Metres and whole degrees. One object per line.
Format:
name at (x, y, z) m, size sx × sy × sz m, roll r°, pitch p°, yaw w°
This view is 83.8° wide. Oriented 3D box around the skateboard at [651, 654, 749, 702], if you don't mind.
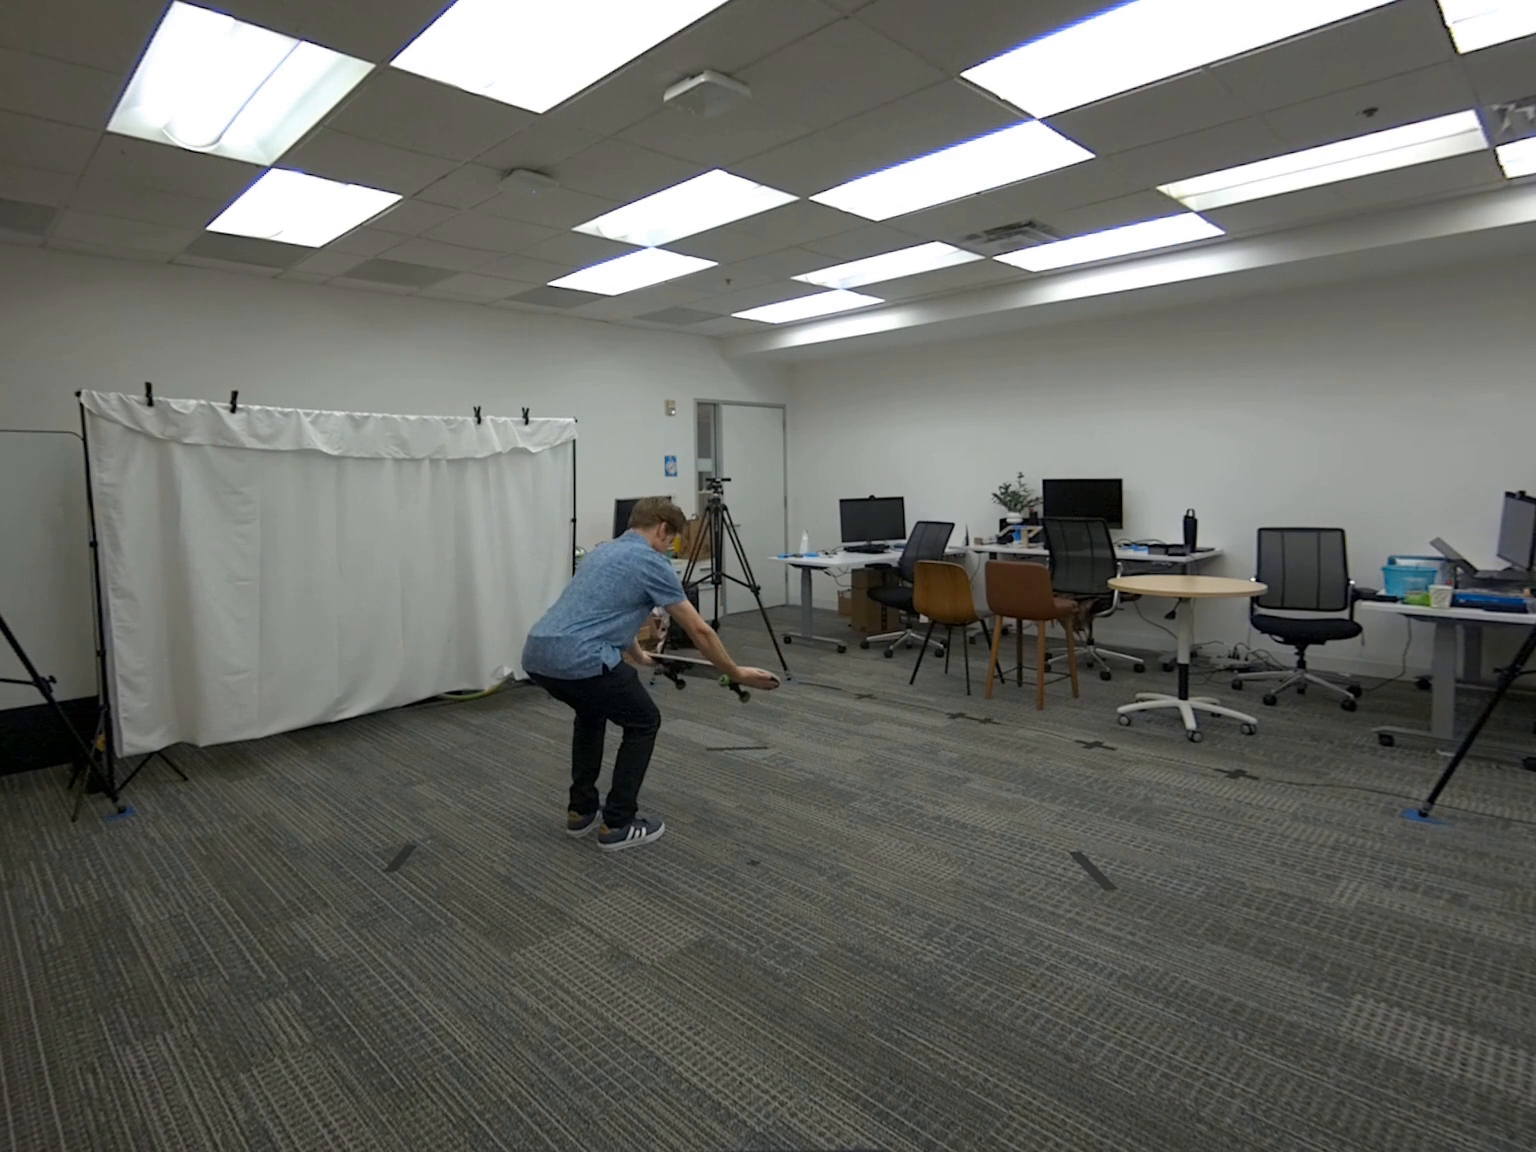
skateboard at (-0.278, 0.436, 3.730) m, size 0.809 × 0.111 × 0.186 m, roll 3°, pitch -30°, yaw 42°
